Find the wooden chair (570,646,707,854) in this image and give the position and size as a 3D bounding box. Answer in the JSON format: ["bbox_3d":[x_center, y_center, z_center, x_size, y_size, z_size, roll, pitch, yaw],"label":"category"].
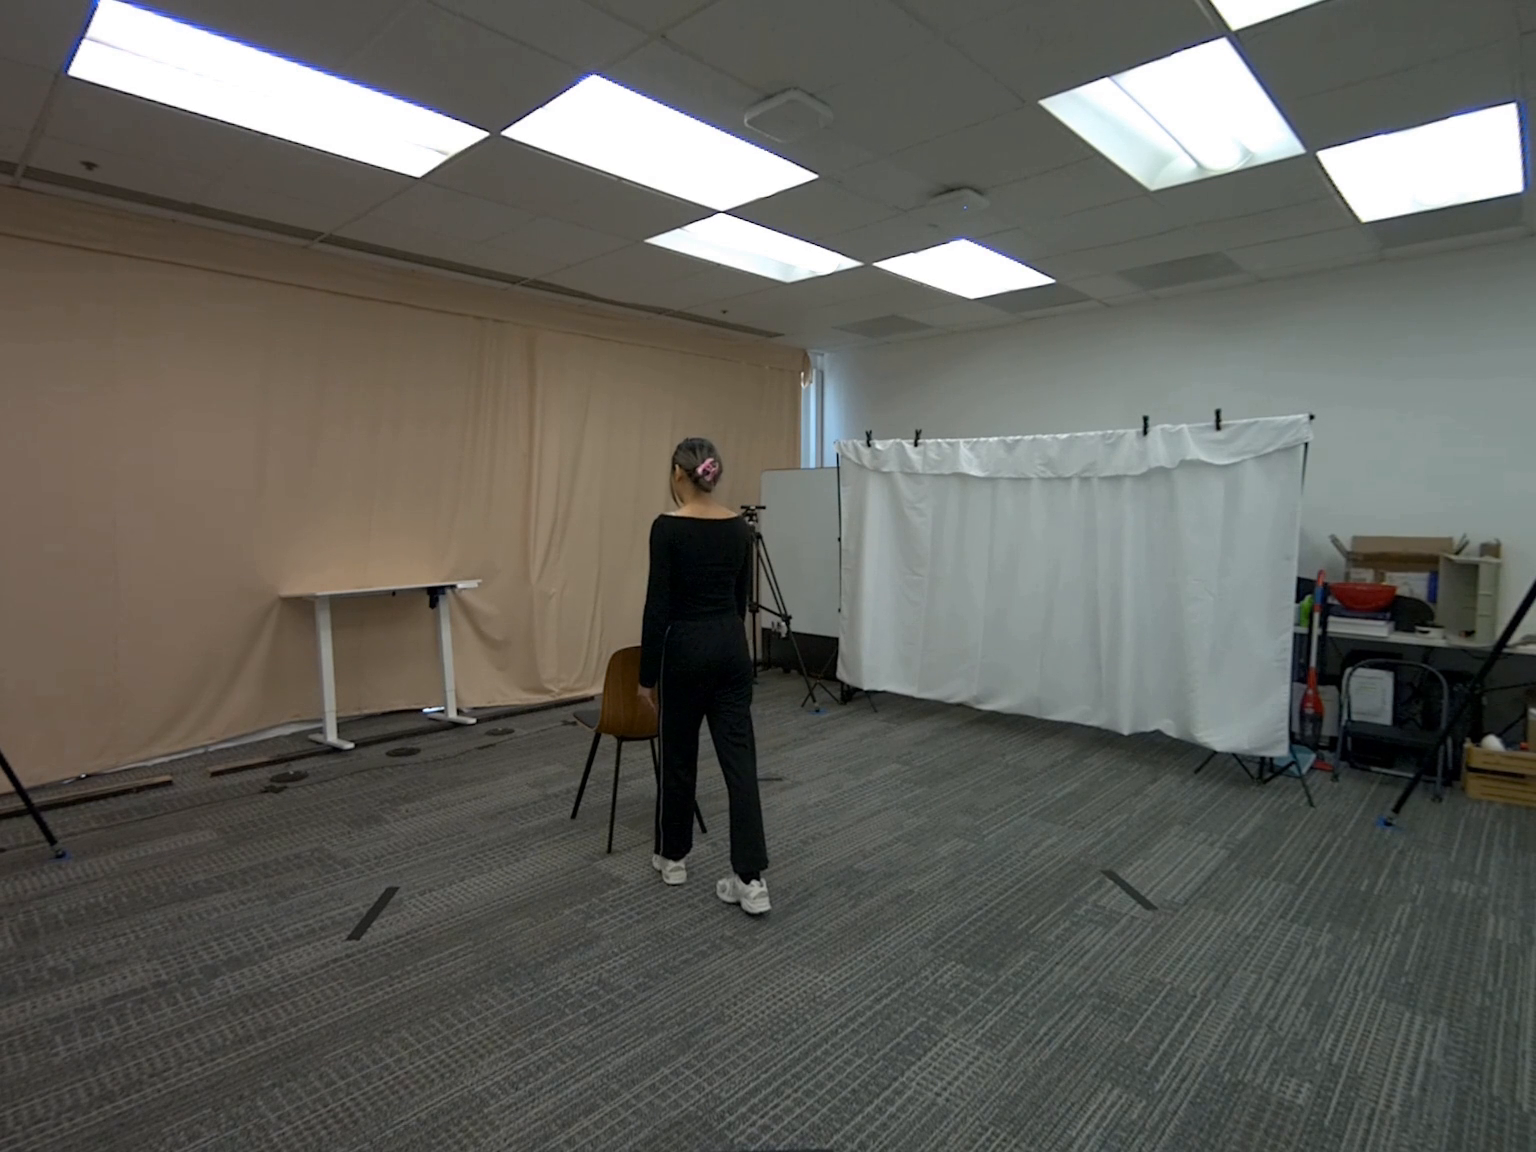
[{"bbox_3d":[-0.583,0.664,3.659,0.465,0.873,0.539,-3,8,-30],"label":"wooden chair"}]
